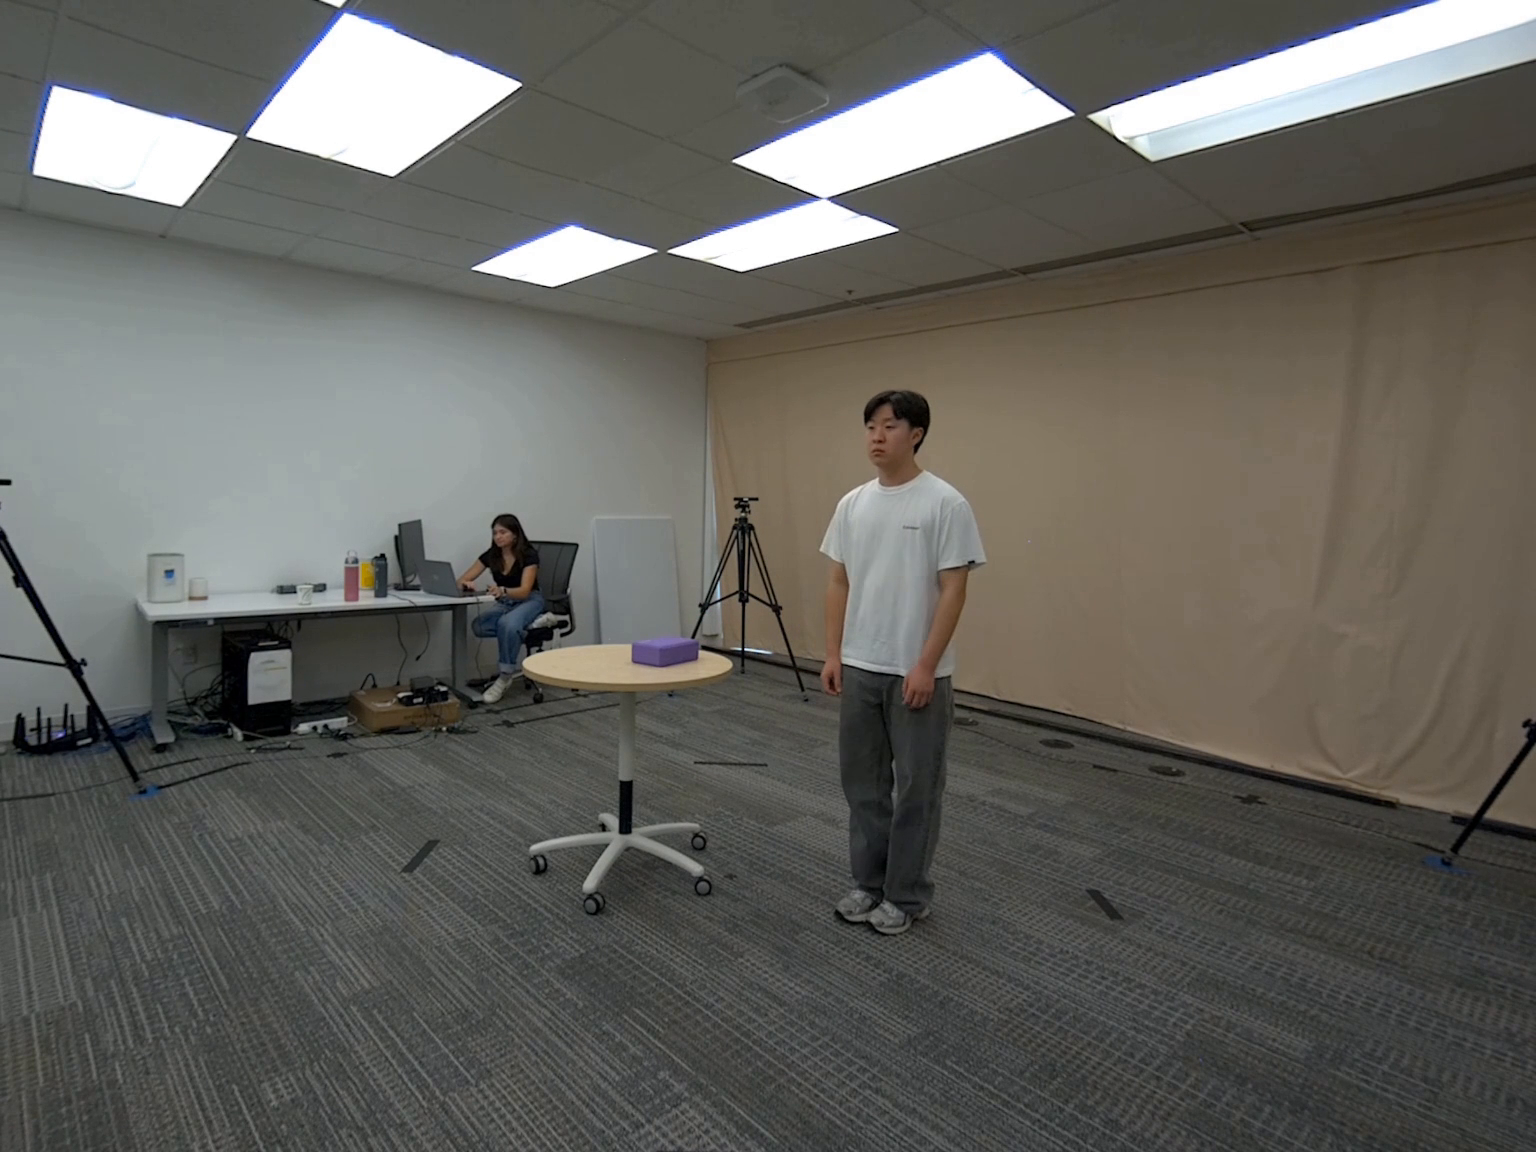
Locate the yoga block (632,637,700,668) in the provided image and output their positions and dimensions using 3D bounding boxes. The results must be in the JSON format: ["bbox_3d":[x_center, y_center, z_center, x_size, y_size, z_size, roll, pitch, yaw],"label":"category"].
[{"bbox_3d":[-0.388,0.283,3.128,0.152,0.076,0.224,4,5,33],"label":"yoga block"}]
